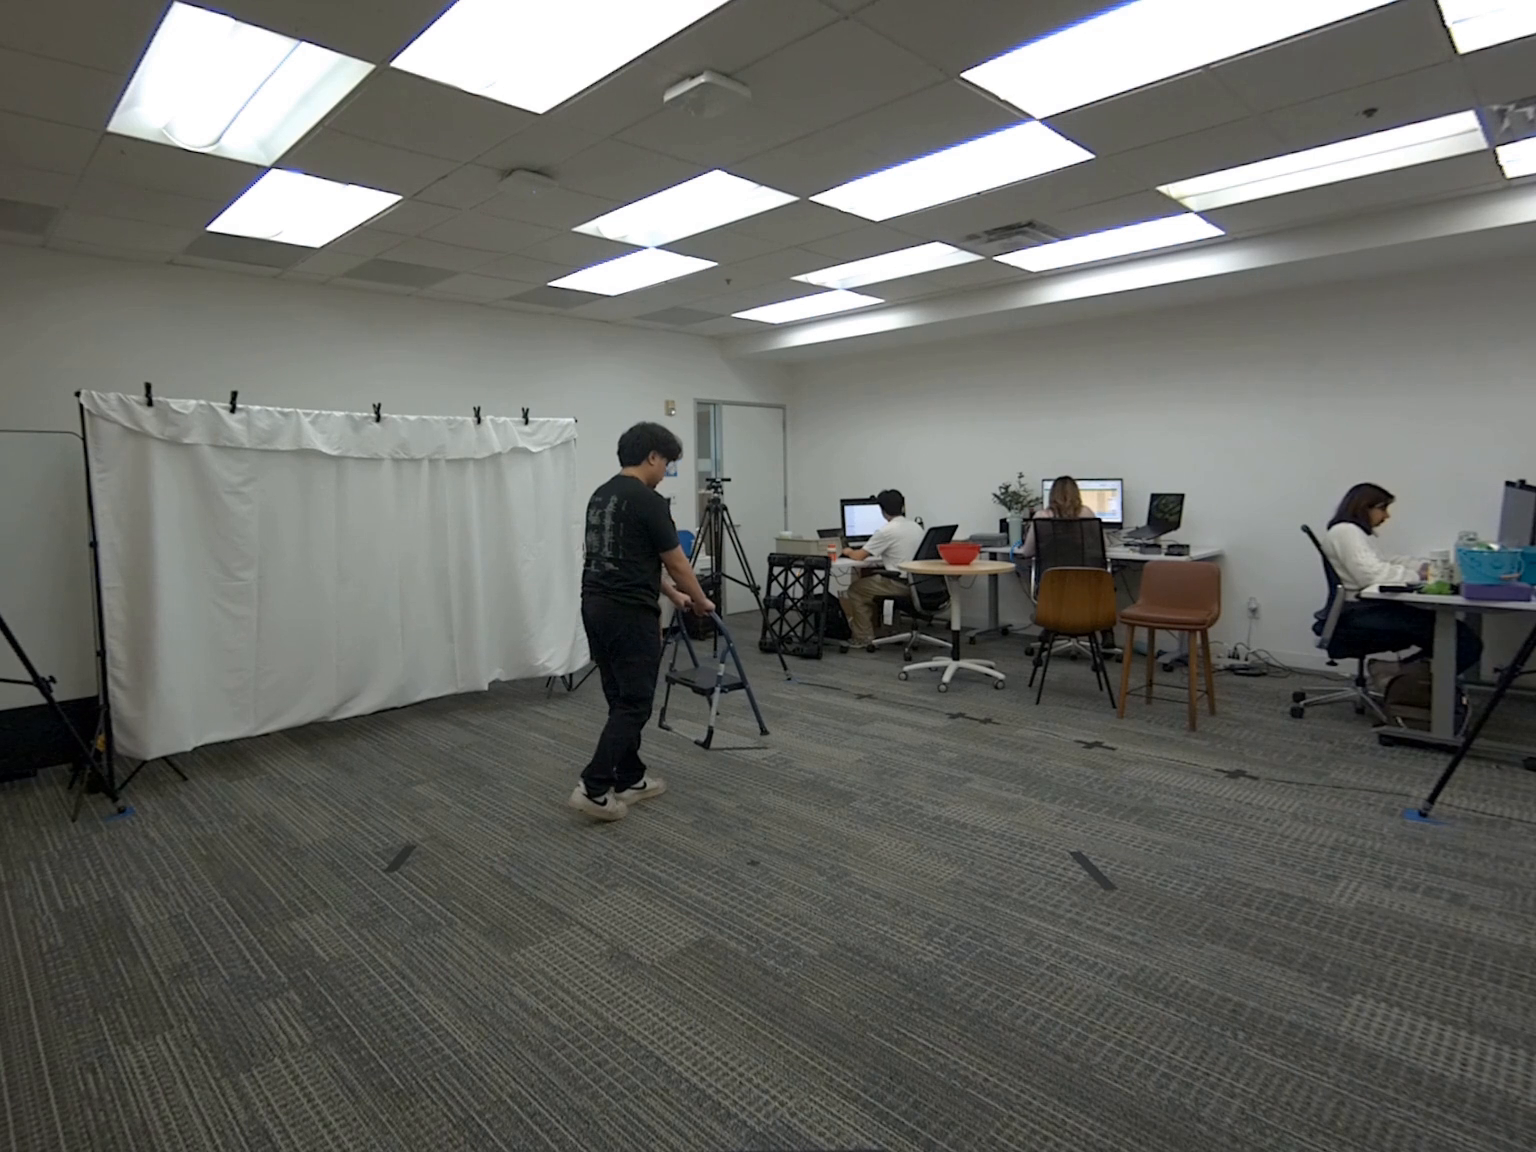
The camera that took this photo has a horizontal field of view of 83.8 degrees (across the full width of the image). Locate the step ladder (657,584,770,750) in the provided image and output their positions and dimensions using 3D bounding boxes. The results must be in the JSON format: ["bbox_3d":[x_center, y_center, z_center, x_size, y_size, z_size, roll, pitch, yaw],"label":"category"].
[{"bbox_3d":[-0.268,0.417,3.923,0.341,0.603,0.444,-6,7,-37],"label":"step ladder"}]
